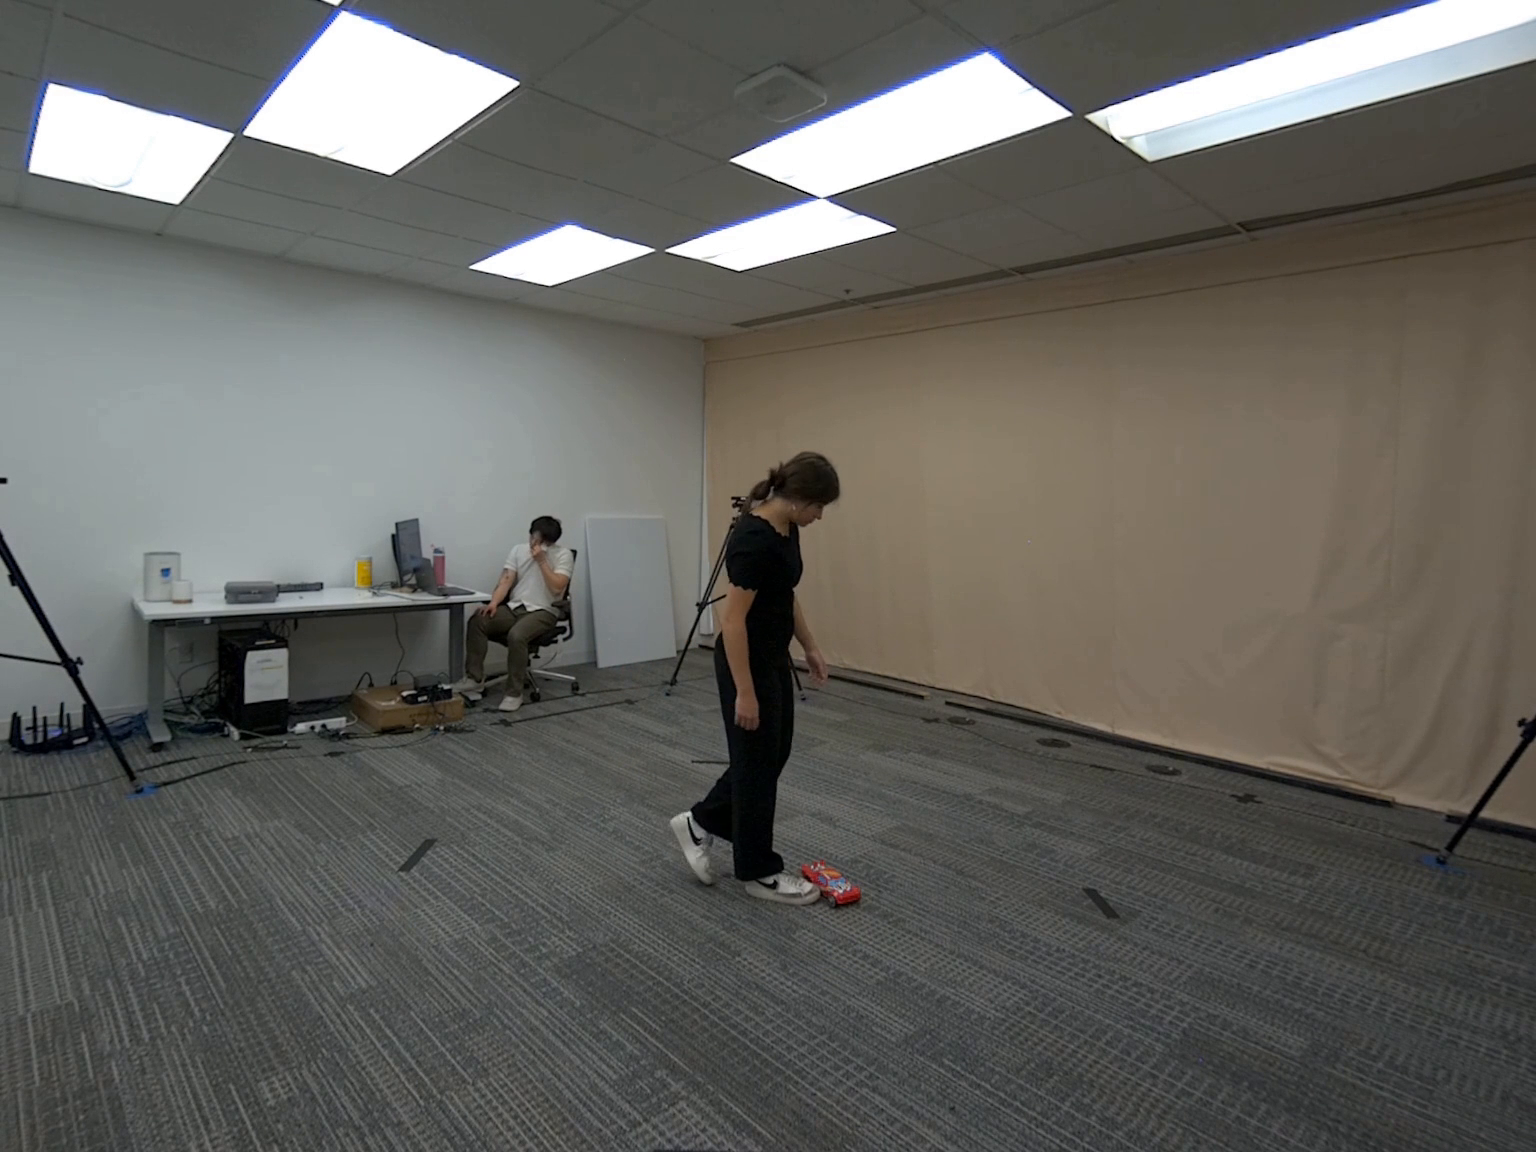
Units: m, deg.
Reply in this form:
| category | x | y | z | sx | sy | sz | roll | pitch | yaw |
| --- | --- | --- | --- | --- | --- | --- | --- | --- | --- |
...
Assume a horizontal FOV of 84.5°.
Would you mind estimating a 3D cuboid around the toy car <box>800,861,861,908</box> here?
| category | x | y | z | sx | sy | sz | roll | pitch | yaw |
| --- | --- | --- | --- | --- | --- | --- | --- | --- | --- |
| toy car | 0.207 | 1.090 | 2.987 | 0.128 | 0.082 | 0.262 | -2 | 17 | -29 |
